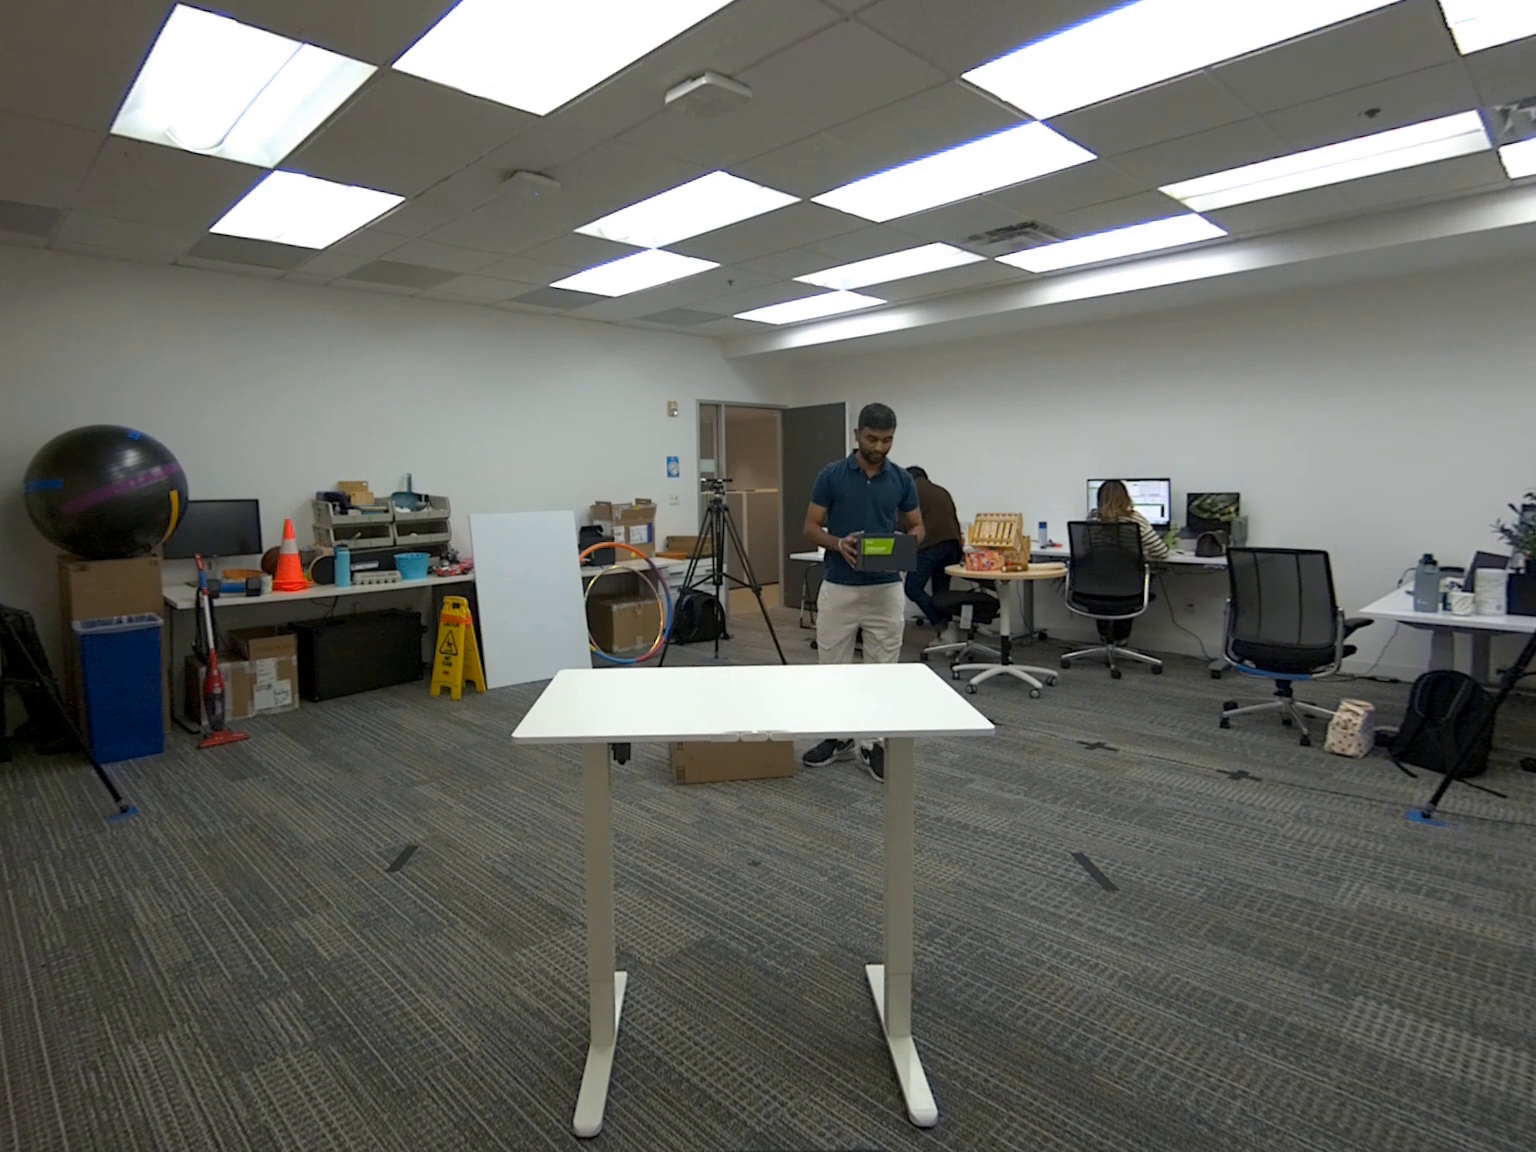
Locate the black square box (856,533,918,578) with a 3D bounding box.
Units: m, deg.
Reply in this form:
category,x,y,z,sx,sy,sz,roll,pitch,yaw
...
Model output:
category,x,y,z,sx,sy,sz,roll,pitch,yaw
black square box,0.517,-0.103,3.667,0.228,0.156,0.217,1,2,-1
